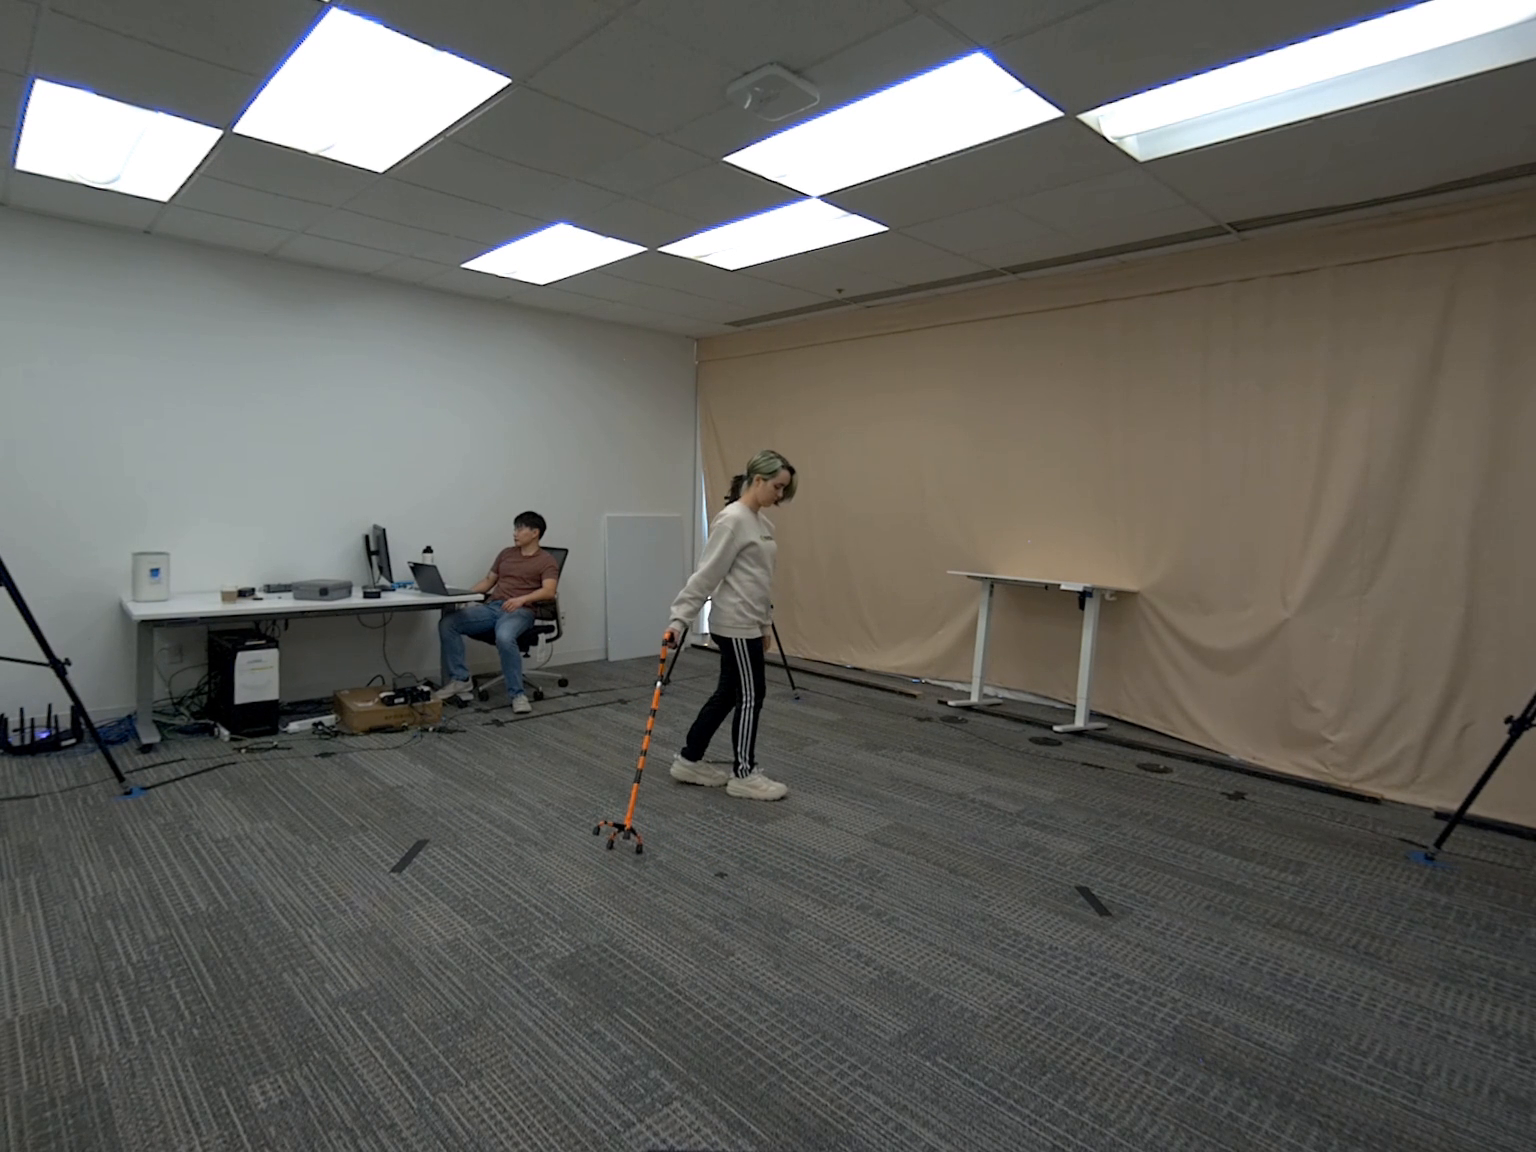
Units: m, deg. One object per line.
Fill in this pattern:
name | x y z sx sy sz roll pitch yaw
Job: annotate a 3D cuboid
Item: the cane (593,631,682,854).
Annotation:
cane | -0.516 0.641 3.459 0.153 0.922 0.201 0 -33 14
